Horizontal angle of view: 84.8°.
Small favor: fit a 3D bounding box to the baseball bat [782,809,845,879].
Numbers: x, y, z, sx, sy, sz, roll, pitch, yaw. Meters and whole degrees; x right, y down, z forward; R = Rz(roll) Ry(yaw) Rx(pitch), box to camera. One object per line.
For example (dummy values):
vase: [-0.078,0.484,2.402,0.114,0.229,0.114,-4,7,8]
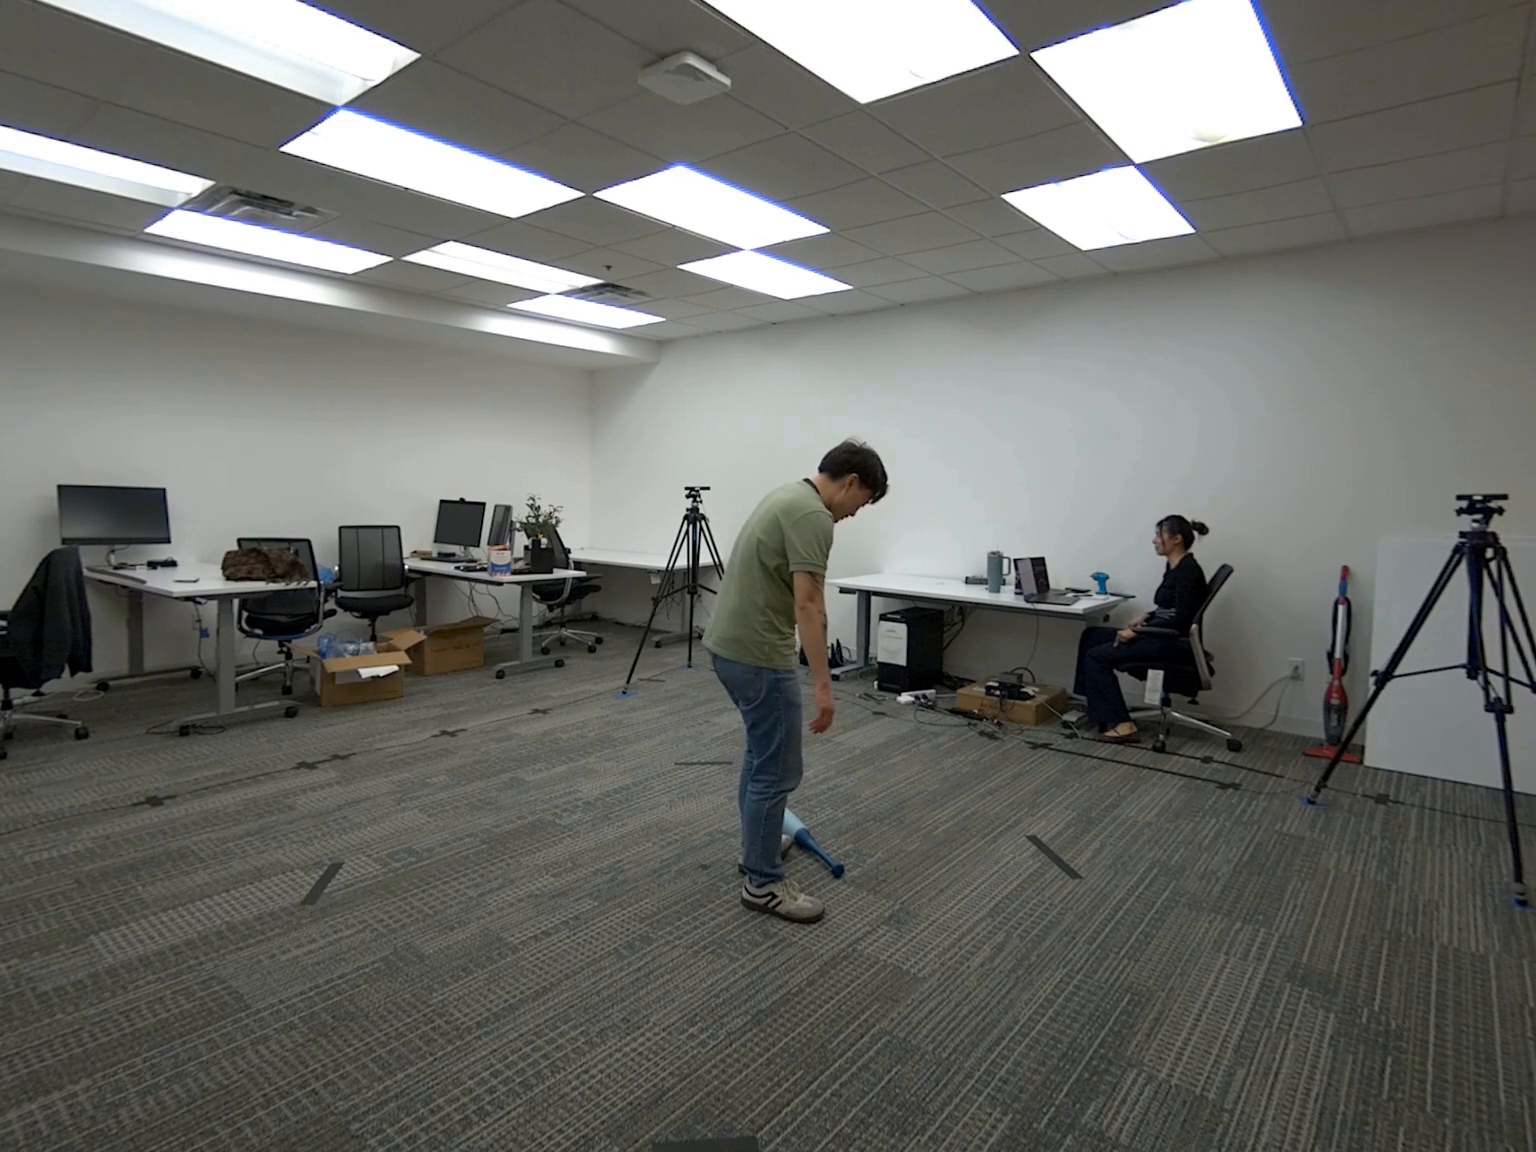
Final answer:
baseball bat: [0.132,1.015,3.294,0.087,0.088,0.558,-1,8,-24]
